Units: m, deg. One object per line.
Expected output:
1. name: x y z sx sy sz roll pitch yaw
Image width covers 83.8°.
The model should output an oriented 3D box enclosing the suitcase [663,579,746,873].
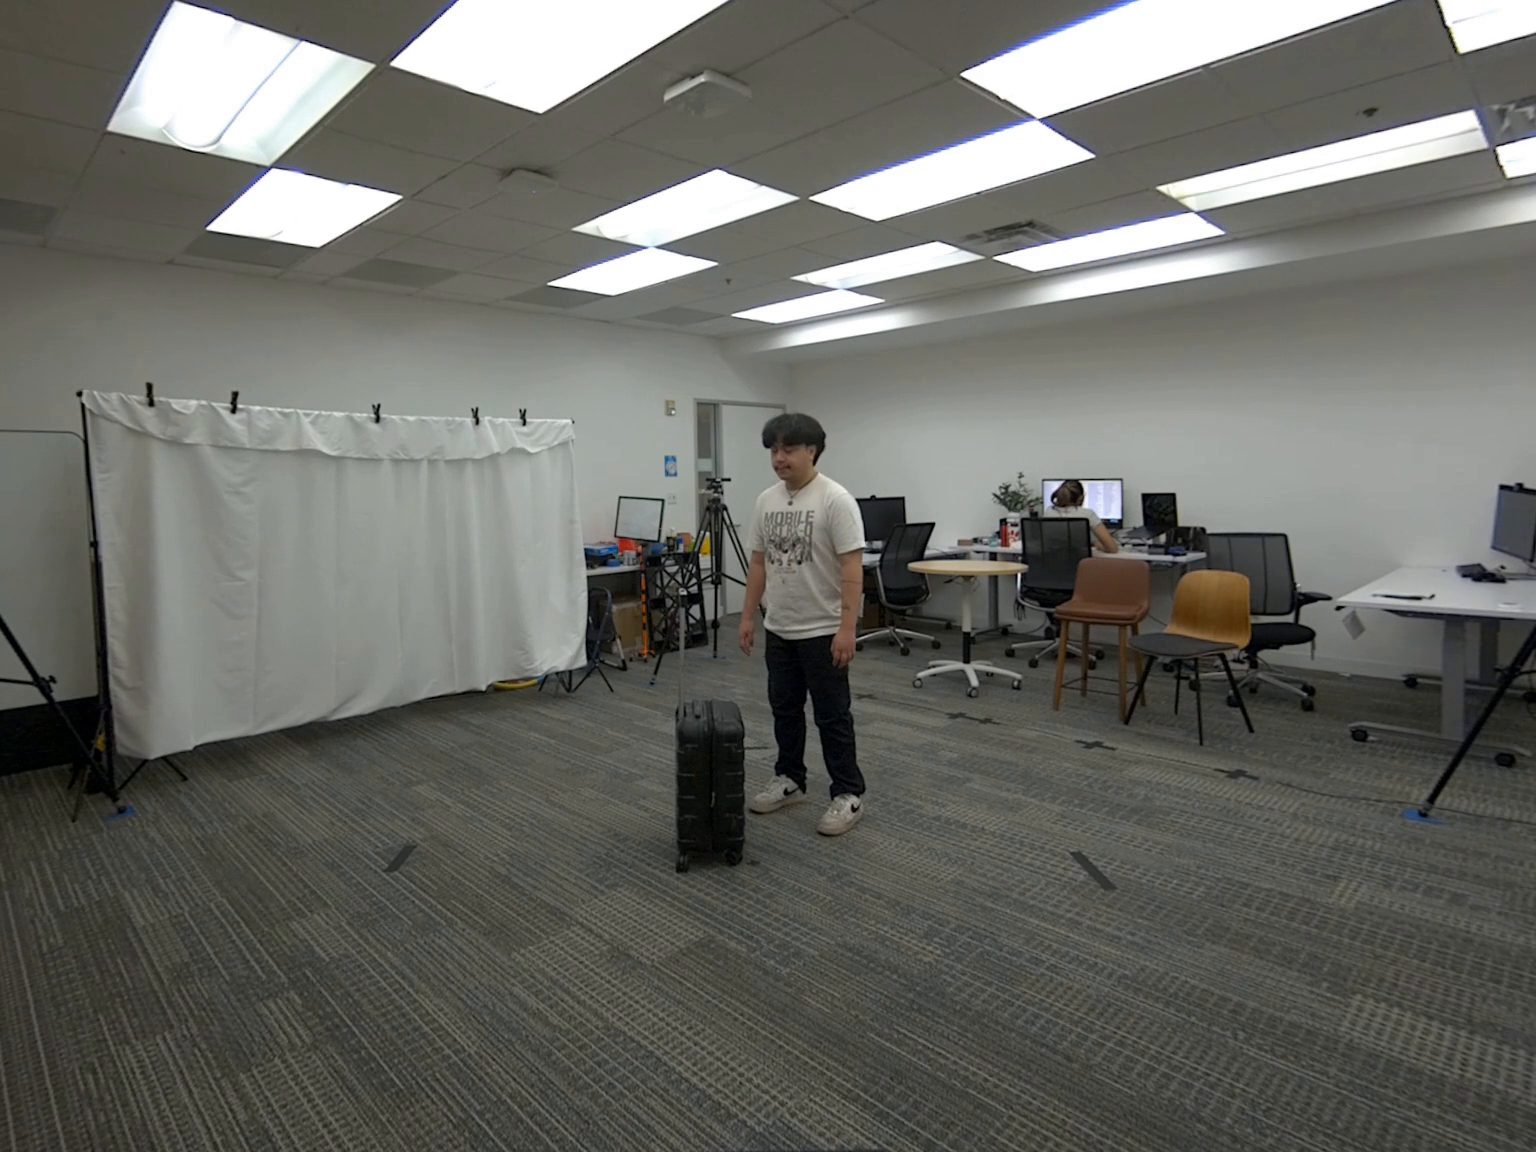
1. suitcase: -0.215 0.557 3.199 0.255 0.975 0.387 2 4 -7
